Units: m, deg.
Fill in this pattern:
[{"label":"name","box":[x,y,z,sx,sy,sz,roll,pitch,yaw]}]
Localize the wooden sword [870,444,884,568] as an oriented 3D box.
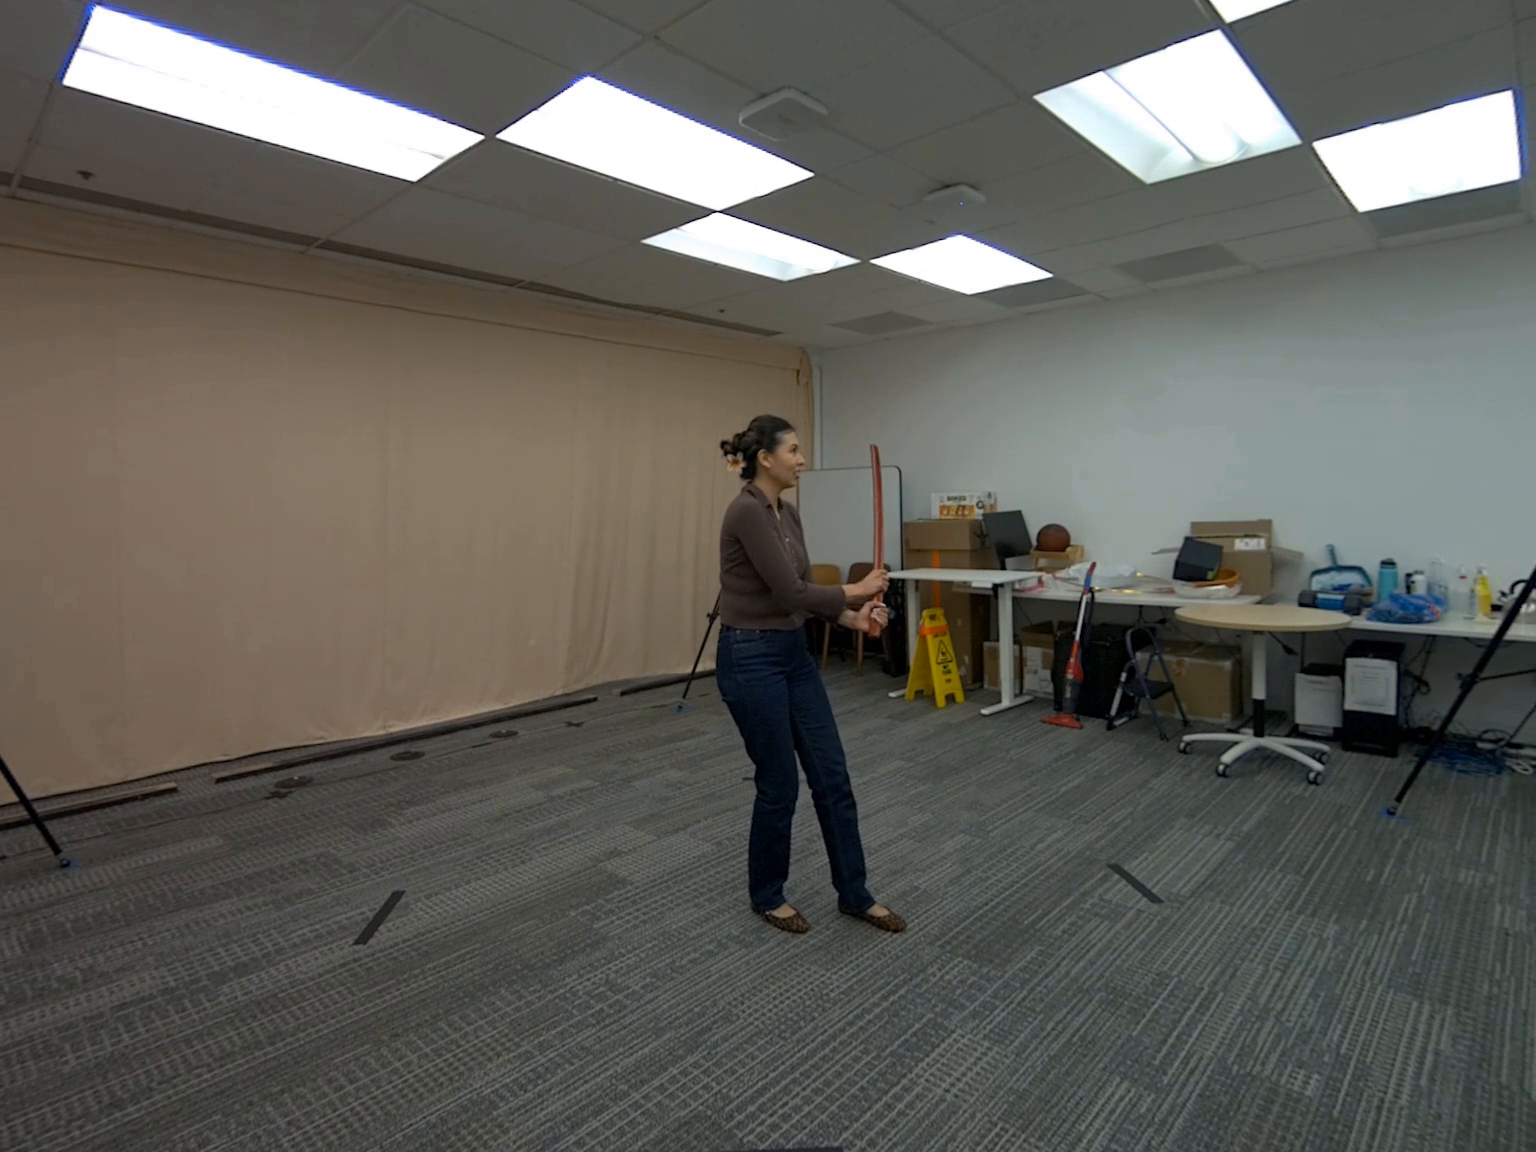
[{"label":"wooden sword","box":[0.425,-0.189,3.007,0.052,0.023,1.039,-22,36,24]}]
